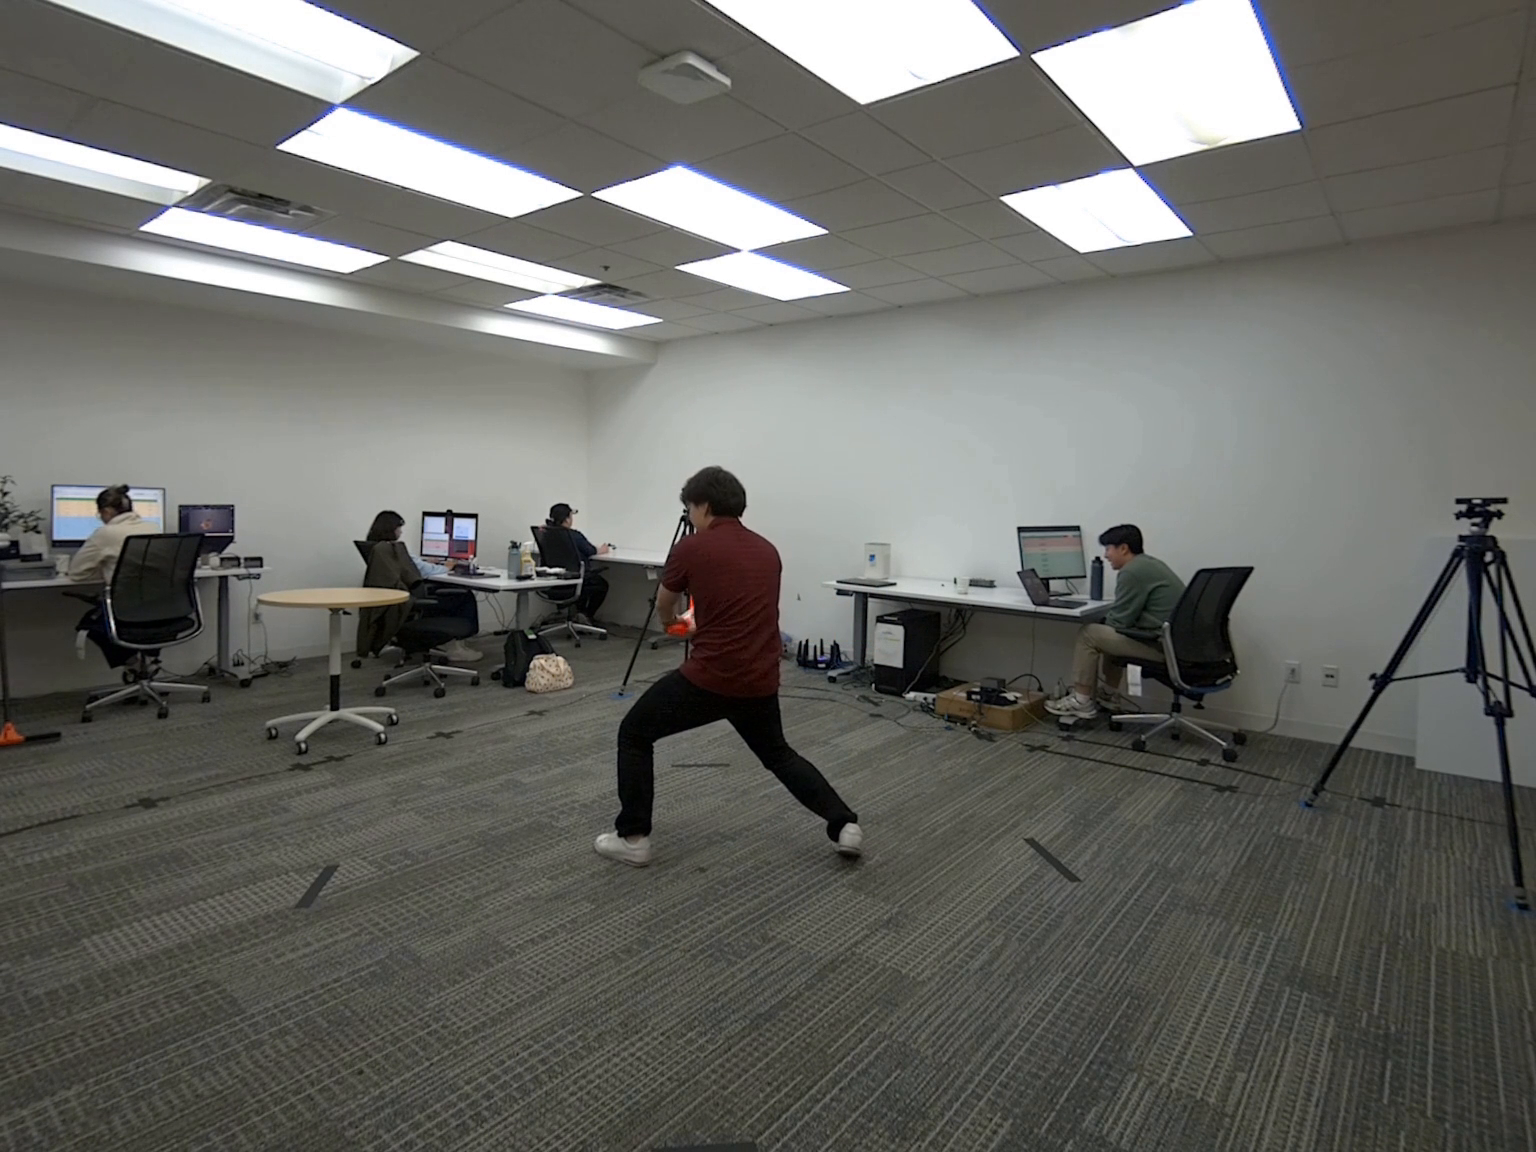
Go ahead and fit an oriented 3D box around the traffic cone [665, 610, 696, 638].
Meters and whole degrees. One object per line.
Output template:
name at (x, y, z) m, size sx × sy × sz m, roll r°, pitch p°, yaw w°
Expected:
traffic cone at (-0.338, 0.194, 3.639) m, size 0.208 × 0.203 × 0.377 m, roll 6°, pitch 9°, yaw 20°
